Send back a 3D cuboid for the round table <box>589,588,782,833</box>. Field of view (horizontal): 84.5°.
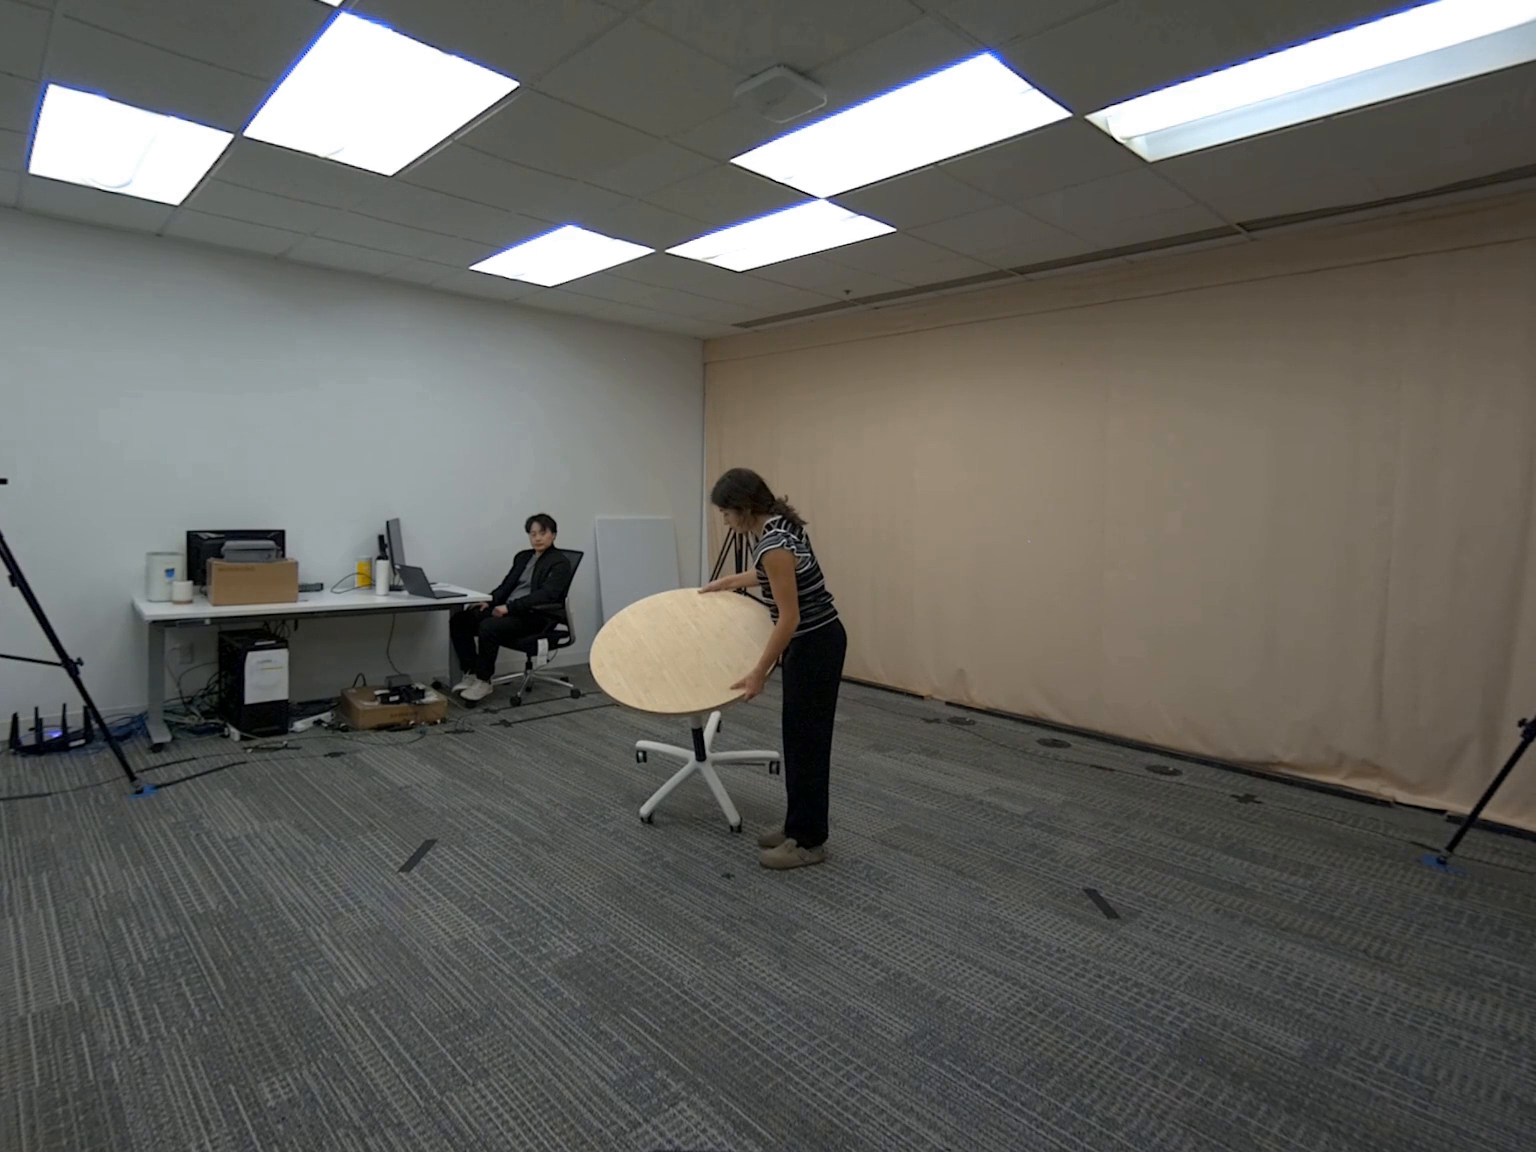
[{"bbox_3d":[-0.321,0.595,3.580,0.765,0.777,0.780,-4,33,1],"label":"round table"}]
